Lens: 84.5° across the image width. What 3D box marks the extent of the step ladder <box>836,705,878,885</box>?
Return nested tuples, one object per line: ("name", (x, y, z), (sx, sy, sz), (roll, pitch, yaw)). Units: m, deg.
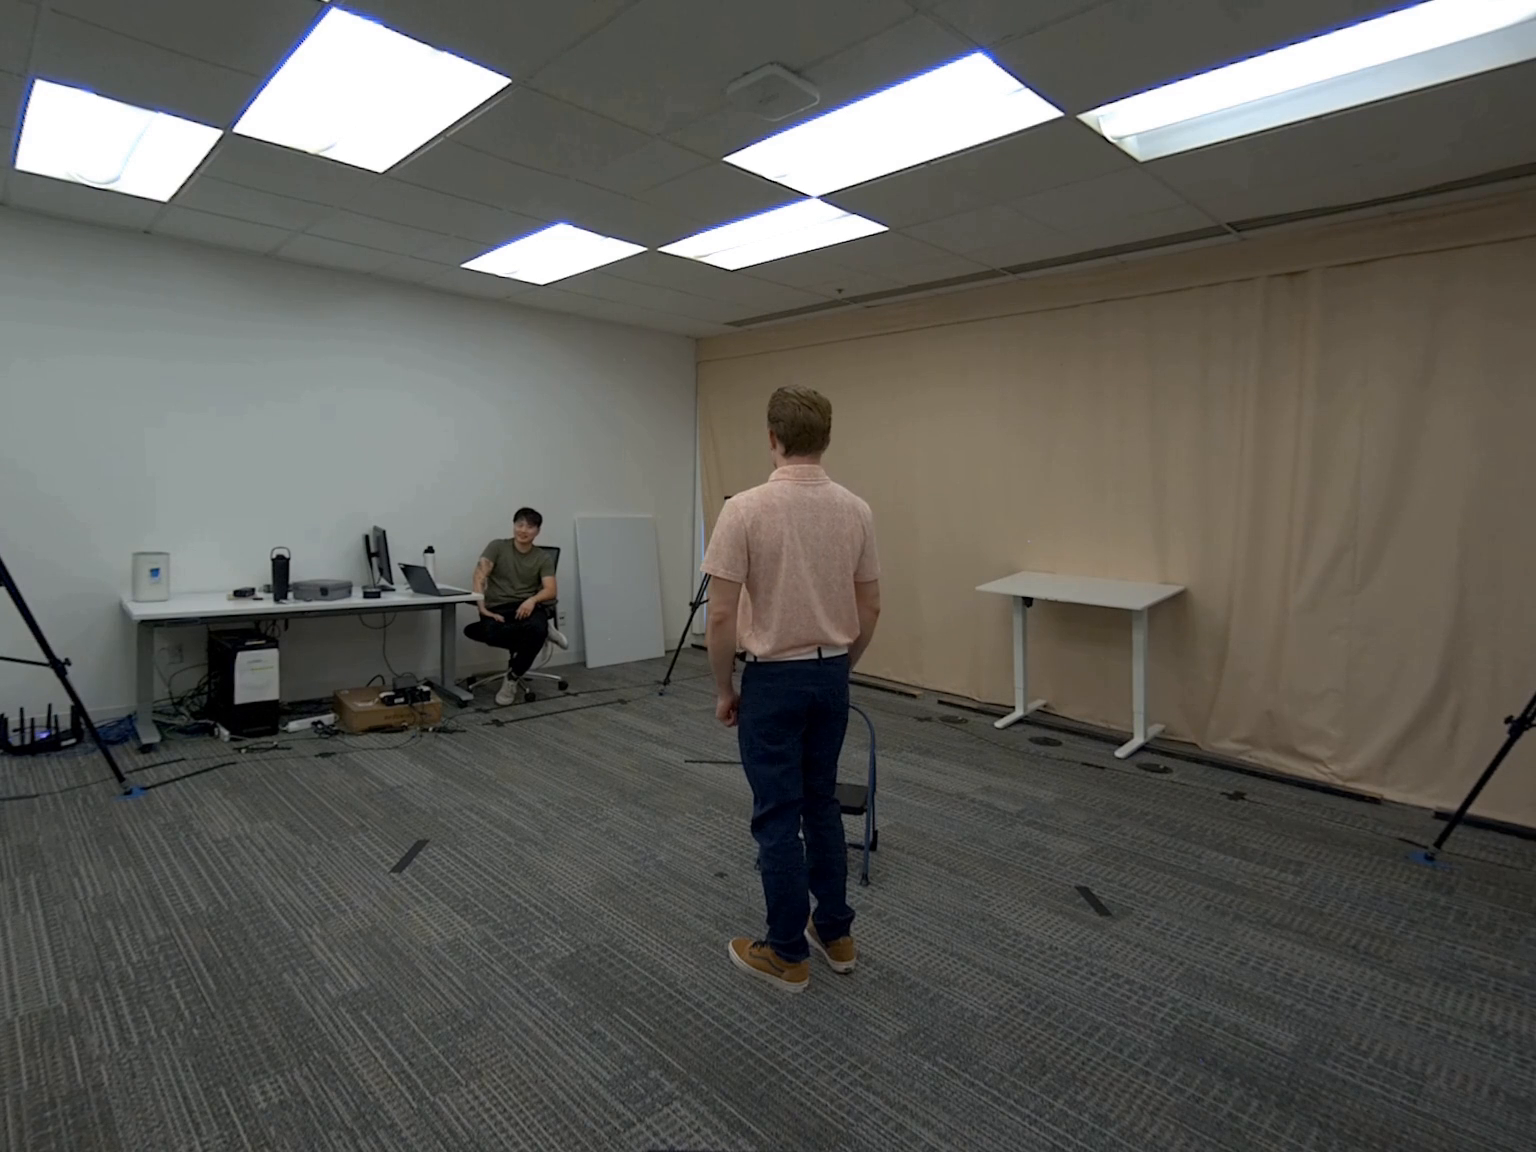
("step ladder", (0.205, 0.799, 3.253), (0.436, 0.604, 0.345), (3, 4, 15))
